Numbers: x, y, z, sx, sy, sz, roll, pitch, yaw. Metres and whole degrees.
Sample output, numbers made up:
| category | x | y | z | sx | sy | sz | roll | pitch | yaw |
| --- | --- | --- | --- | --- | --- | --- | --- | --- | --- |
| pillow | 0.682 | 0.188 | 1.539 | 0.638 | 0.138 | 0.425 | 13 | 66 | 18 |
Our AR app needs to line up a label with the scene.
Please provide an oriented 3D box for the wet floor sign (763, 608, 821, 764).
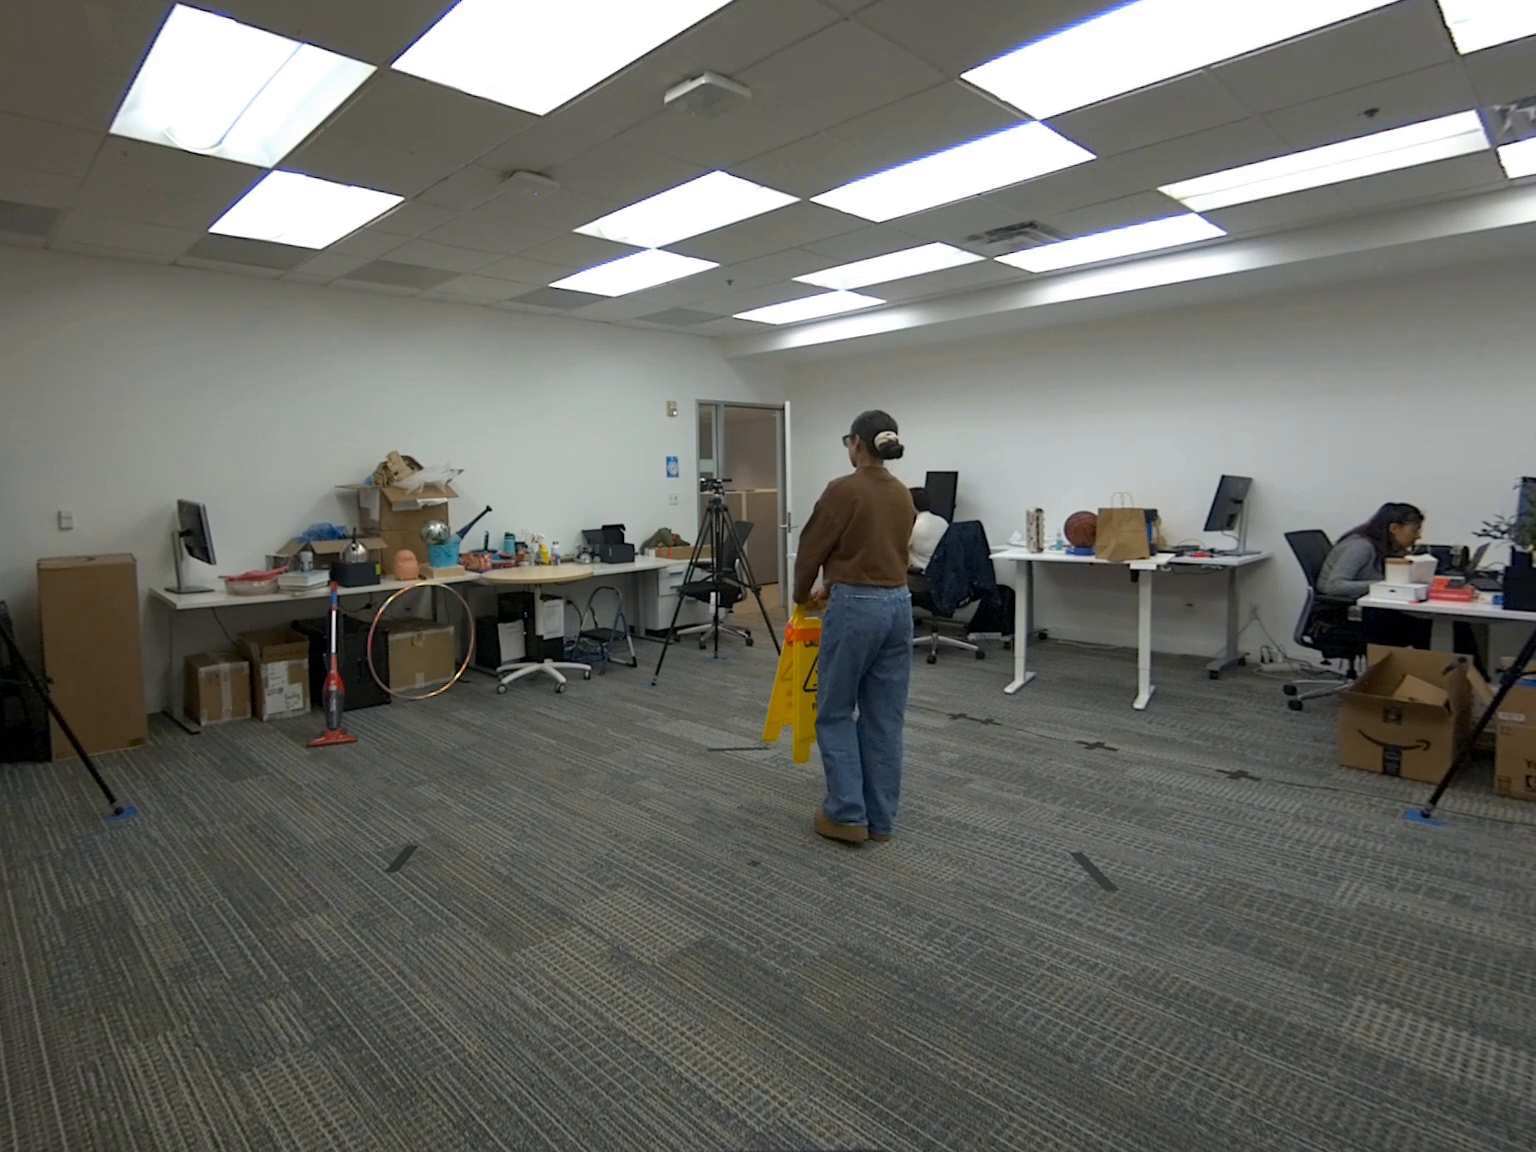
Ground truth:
| category | x | y | z | sx | sy | sz | roll | pitch | yaw |
| --- | --- | --- | --- | --- | --- | --- | --- | --- | --- |
| wet floor sign | 0.183 | 0.422 | 3.626 | 0.276 | 0.643 | 0.298 | 0 | 7 | -28 |
